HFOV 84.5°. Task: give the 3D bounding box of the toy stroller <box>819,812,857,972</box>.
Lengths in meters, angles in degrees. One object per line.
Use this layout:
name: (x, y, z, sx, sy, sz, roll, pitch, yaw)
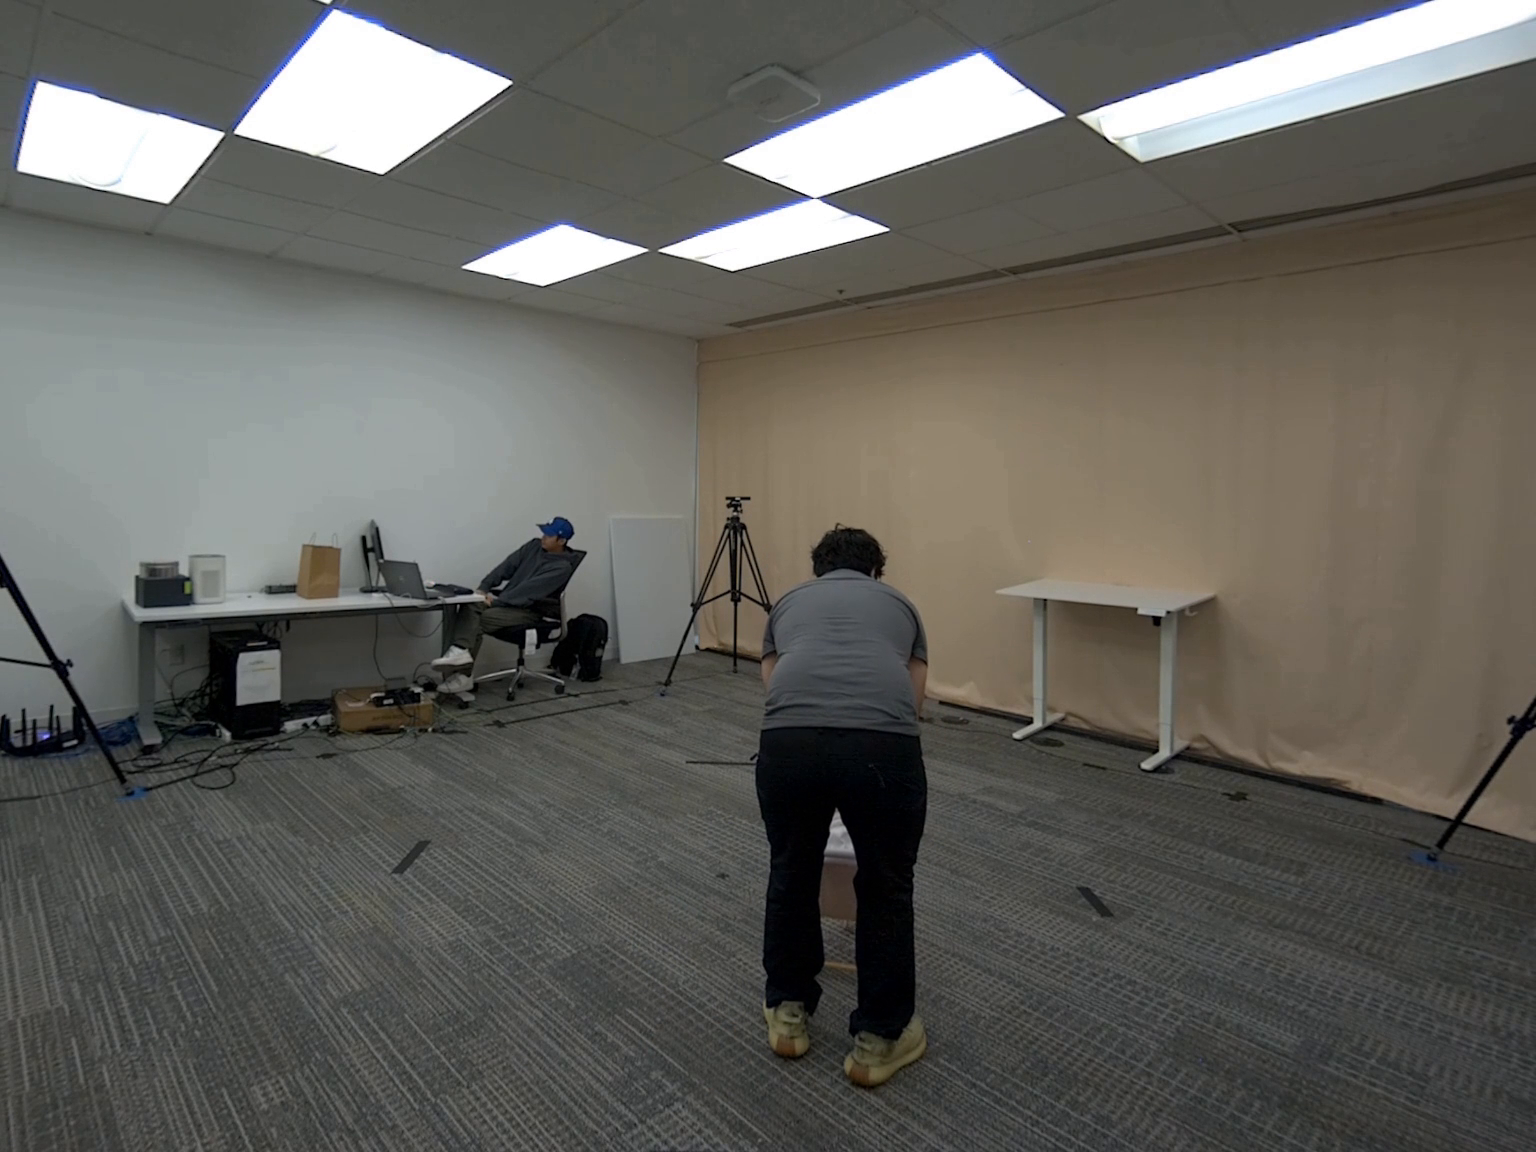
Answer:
toy stroller: (0.237, 0.950, 2.545, 0.285, 0.527, 0.342, 4, 20, 13)
